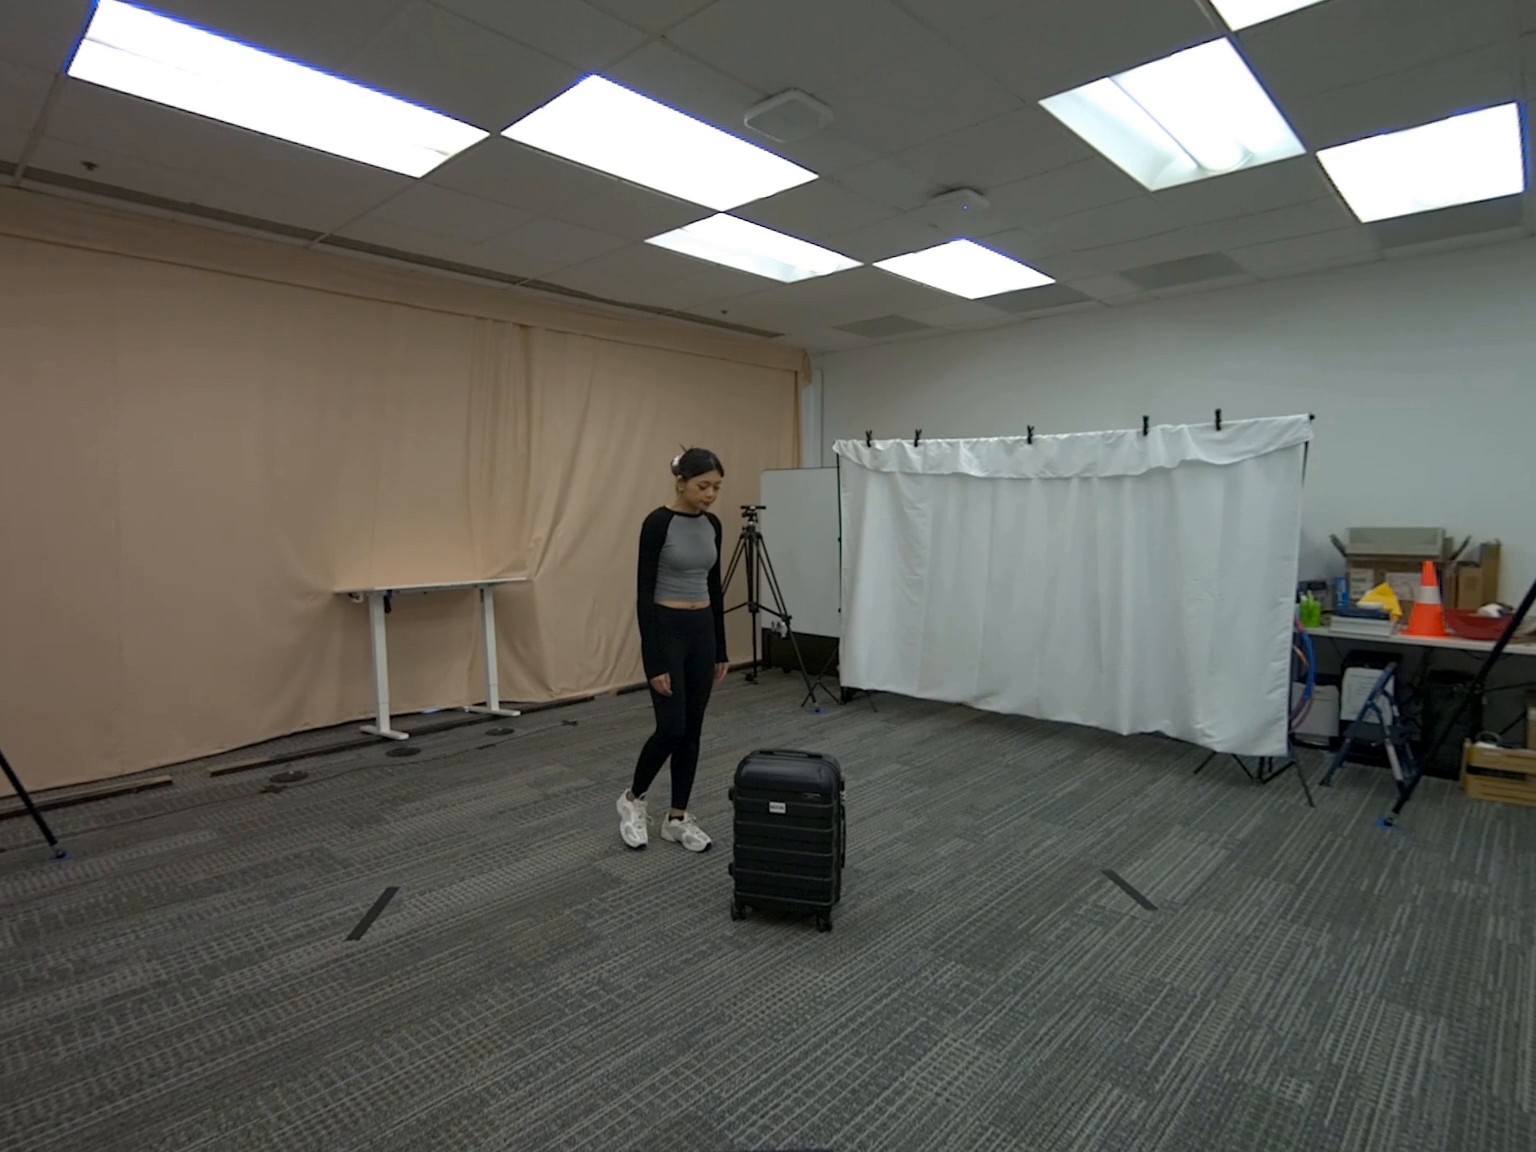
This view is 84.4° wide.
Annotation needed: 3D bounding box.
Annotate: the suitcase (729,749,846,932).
[{"bbox_3d":[0.074,0.878,2.864,0.382,0.547,0.245,2,5,16],"label":"suitcase"}]
